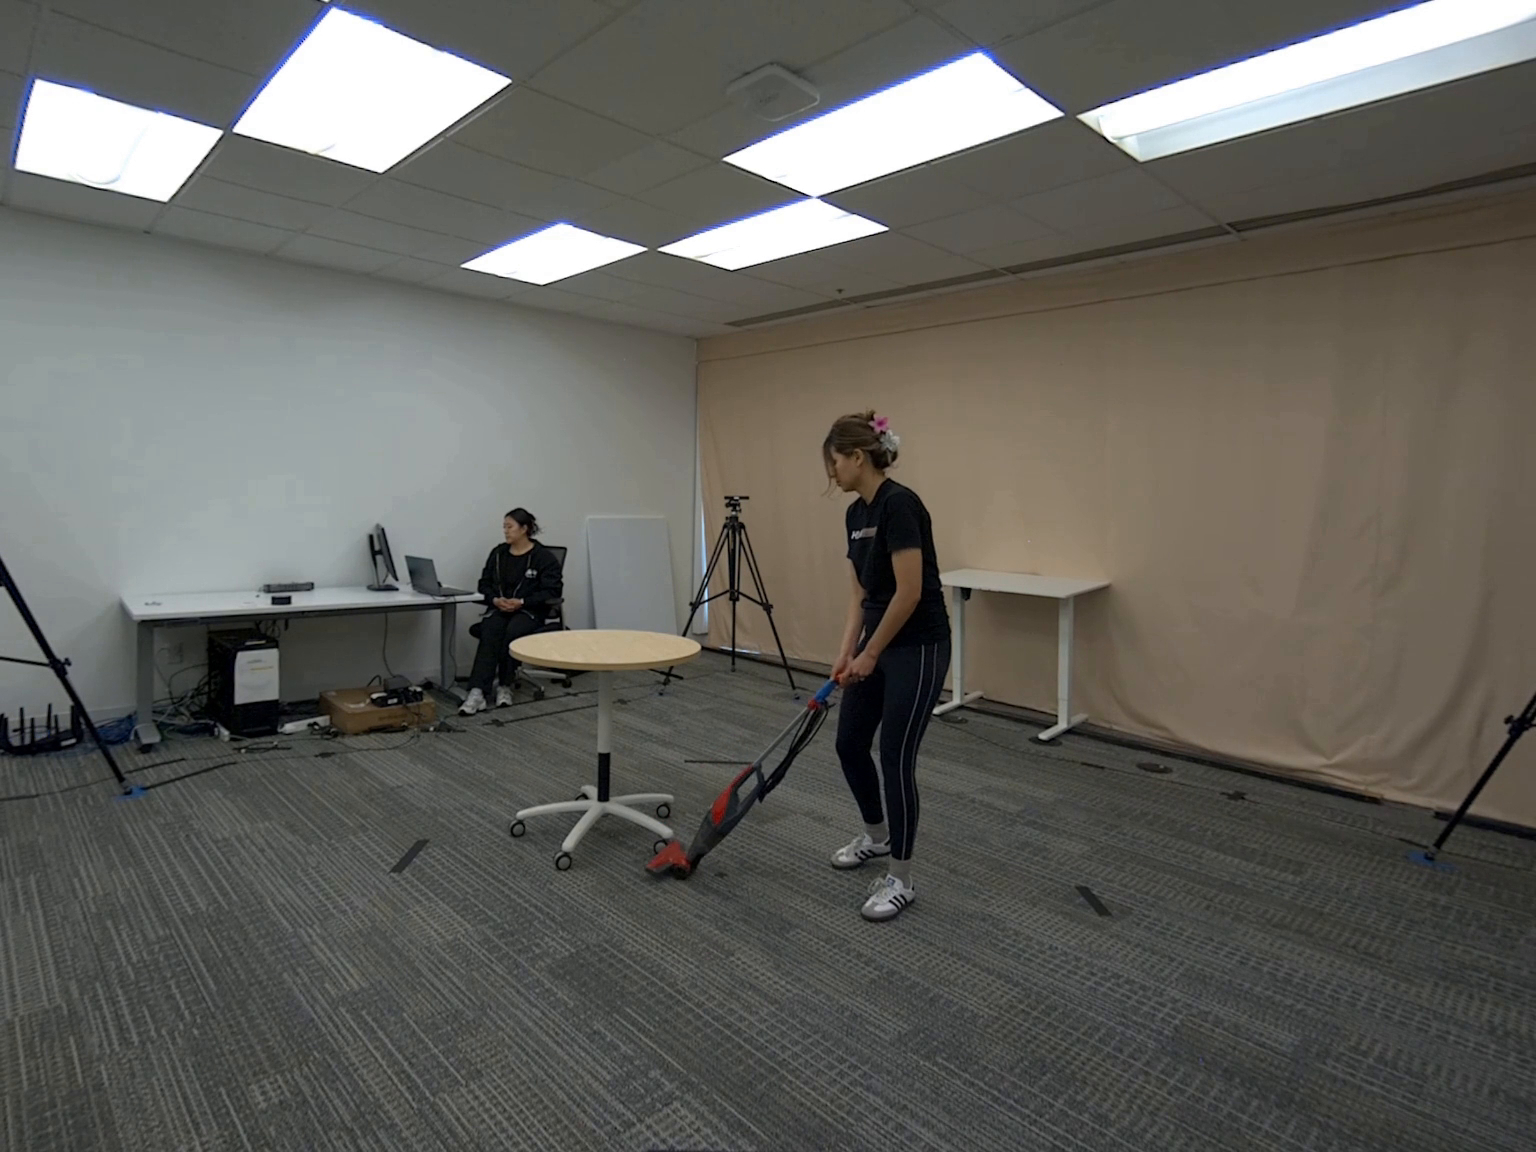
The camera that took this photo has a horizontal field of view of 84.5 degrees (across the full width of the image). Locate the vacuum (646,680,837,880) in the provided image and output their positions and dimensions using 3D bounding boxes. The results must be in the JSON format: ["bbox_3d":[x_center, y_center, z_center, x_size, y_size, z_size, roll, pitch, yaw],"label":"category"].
[{"bbox_3d":[-0.016,0.706,2.993,0.145,1.049,0.251,45,14,3],"label":"vacuum"}]
